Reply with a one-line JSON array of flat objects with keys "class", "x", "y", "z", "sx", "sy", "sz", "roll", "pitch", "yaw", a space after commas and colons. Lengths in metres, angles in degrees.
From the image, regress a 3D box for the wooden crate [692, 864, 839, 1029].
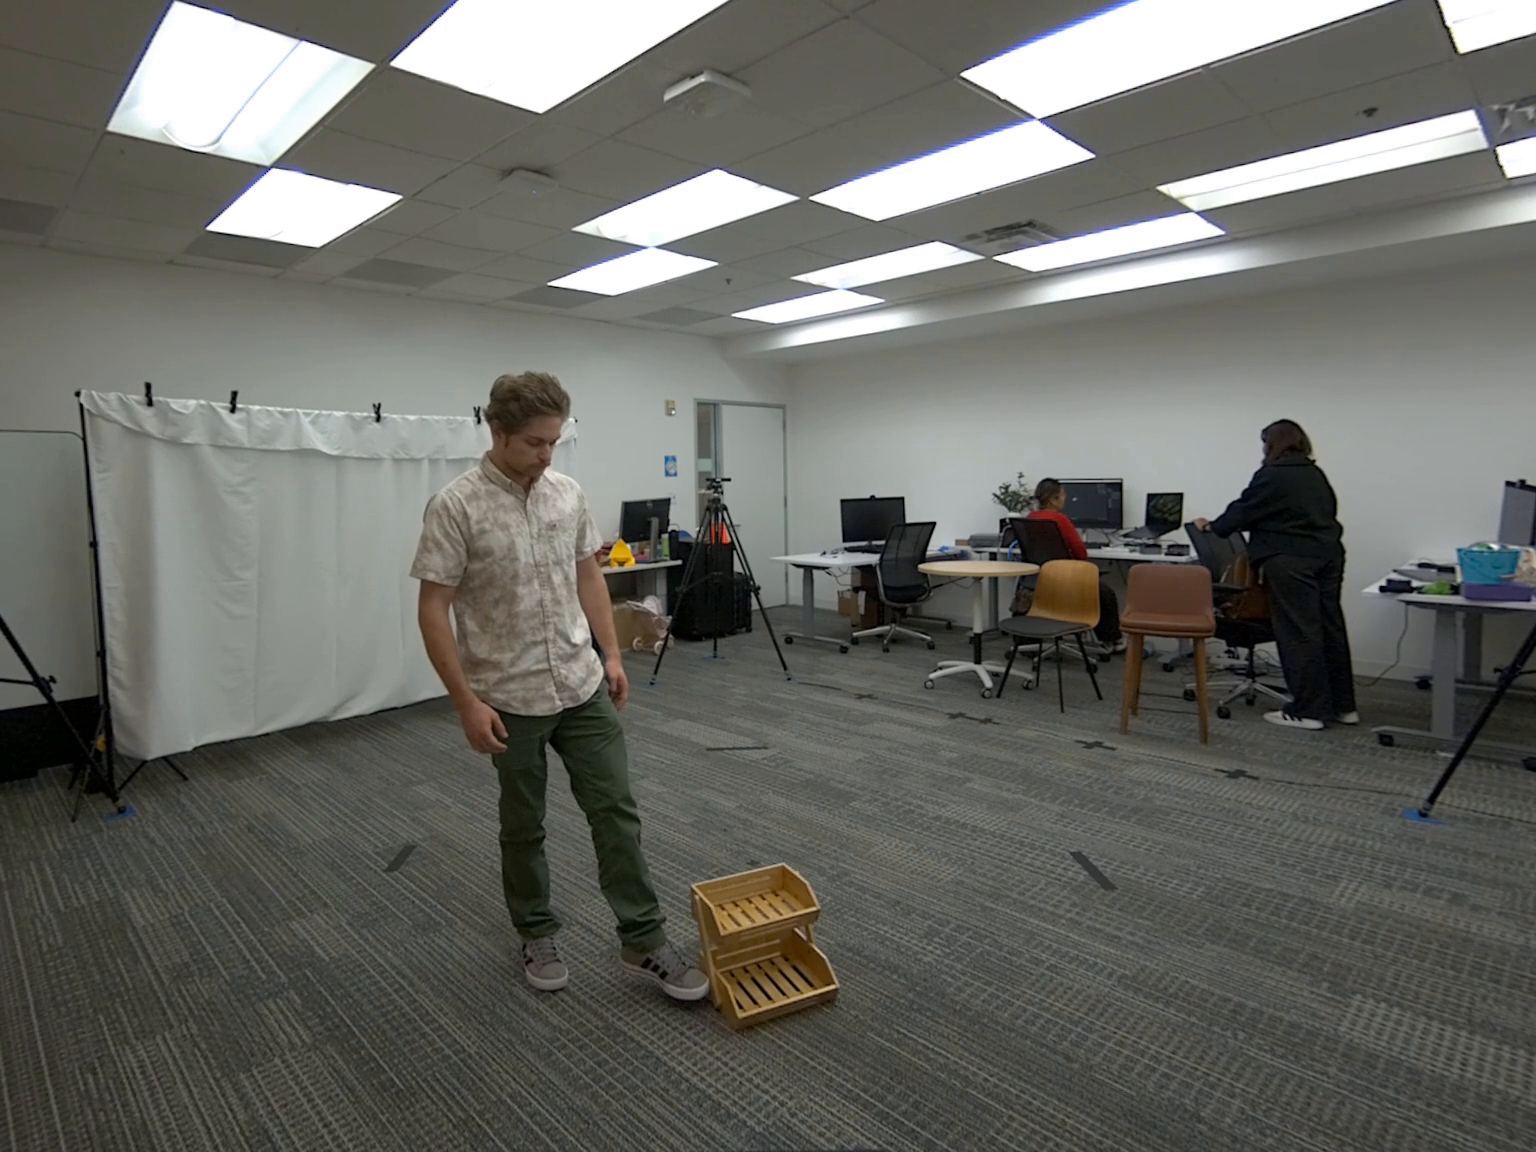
[{"class": "wooden crate", "x": -0.004, "y": 1.001, "z": 2.332, "sx": 0.317, "sy": 0.272, "sz": 0.310, "roll": -4, "pitch": 6, "yaw": -26}]
